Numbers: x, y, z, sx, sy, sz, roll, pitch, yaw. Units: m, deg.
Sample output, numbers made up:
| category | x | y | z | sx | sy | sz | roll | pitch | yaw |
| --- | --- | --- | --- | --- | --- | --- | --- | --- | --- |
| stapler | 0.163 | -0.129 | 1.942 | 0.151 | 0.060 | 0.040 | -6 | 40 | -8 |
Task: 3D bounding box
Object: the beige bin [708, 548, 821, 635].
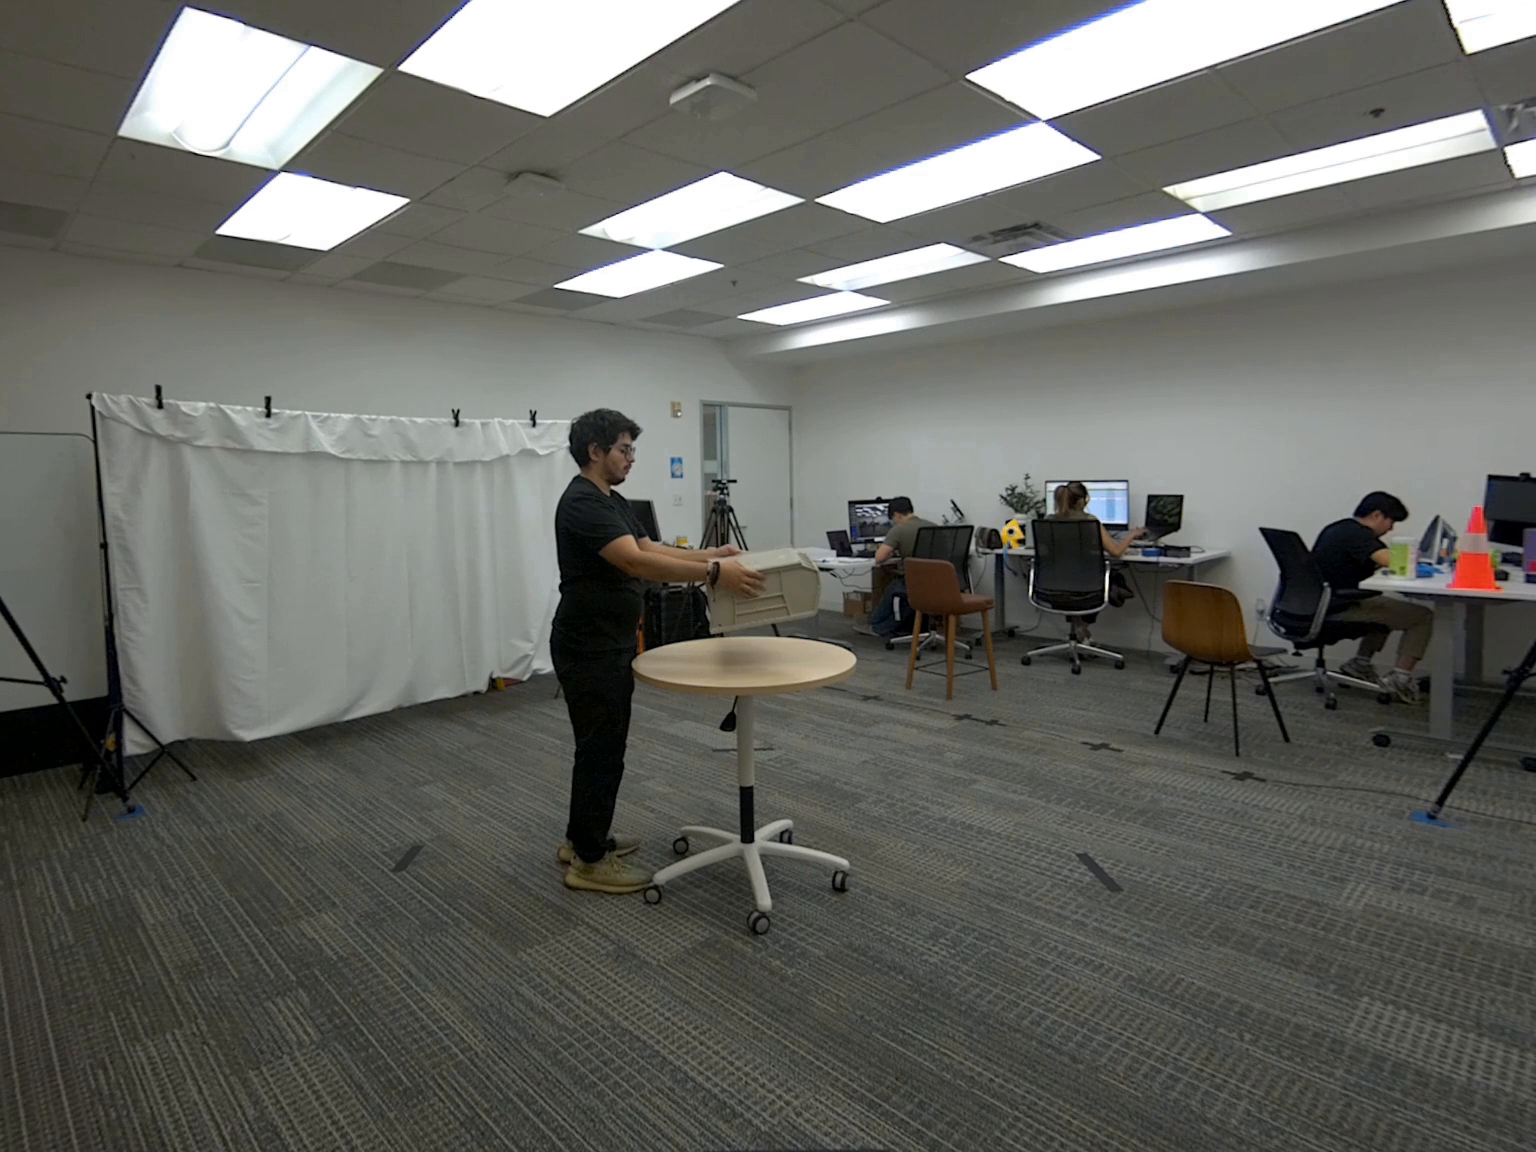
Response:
| category | x | y | z | sx | sy | sz | roll | pitch | yaw |
| --- | --- | --- | --- | --- | --- | --- | --- | --- | --- |
| beige bin | -0.015 | 0.040 | 2.925 | 0.377 | 0.187 | 0.427 | -9 | 12 | -1 |
